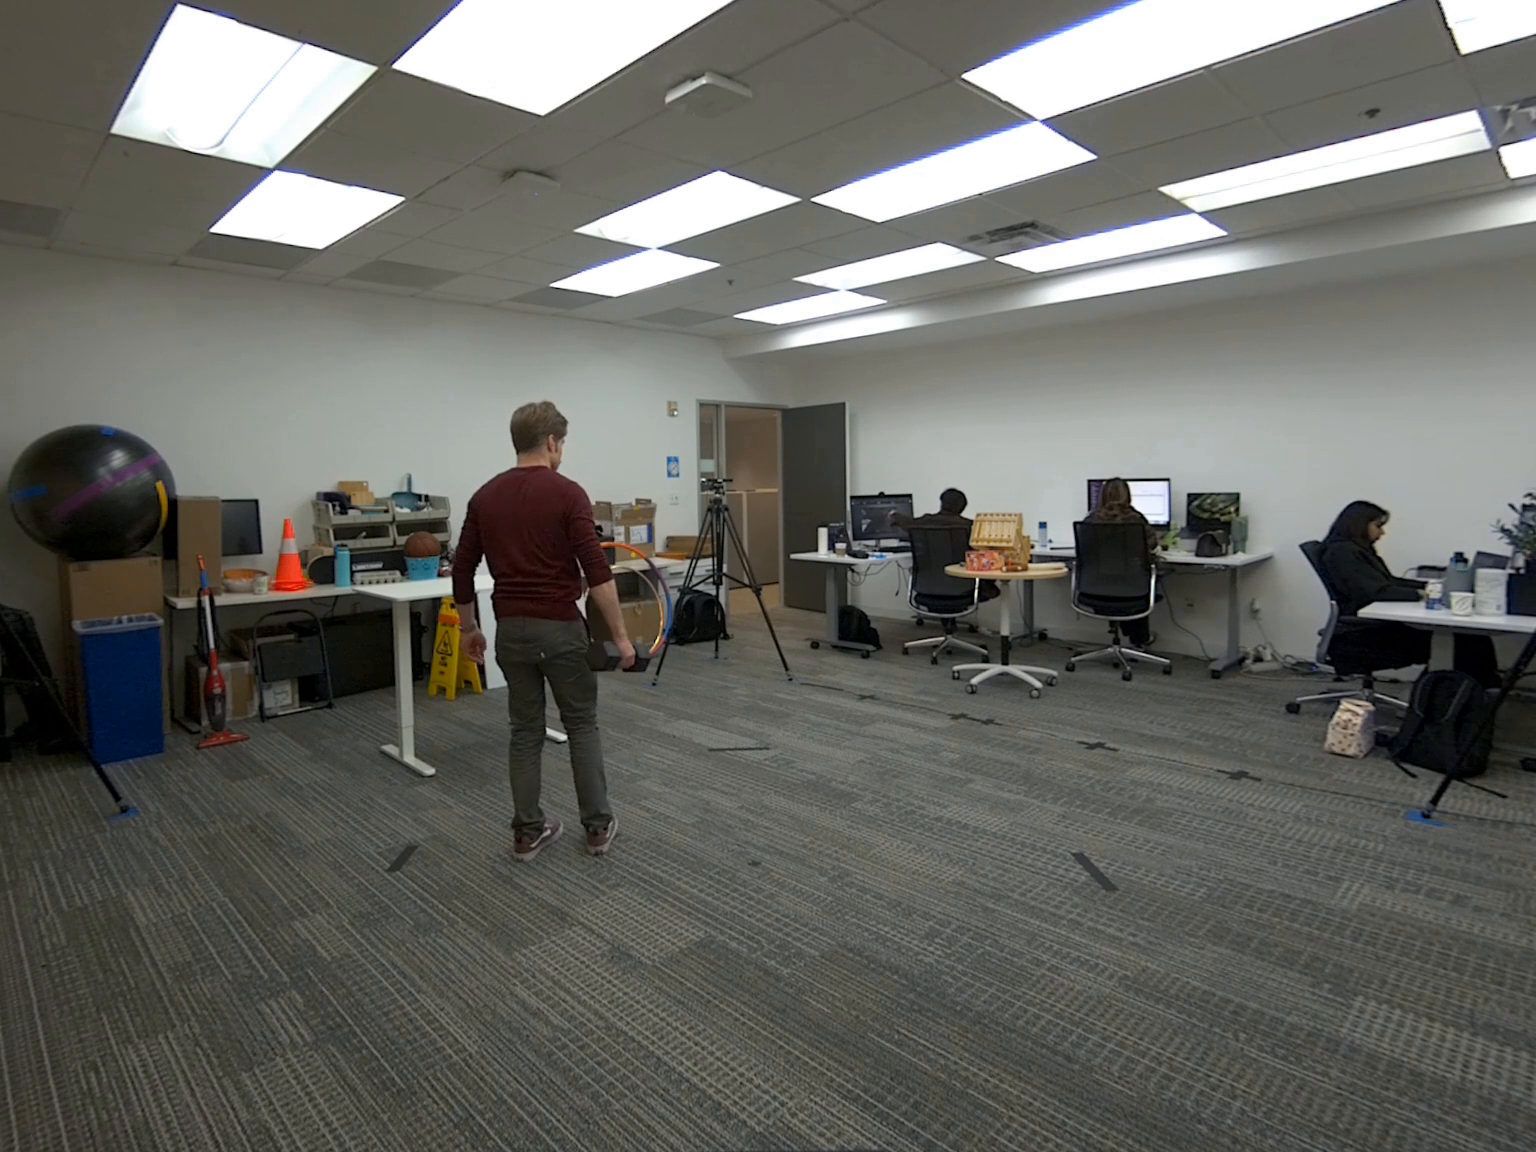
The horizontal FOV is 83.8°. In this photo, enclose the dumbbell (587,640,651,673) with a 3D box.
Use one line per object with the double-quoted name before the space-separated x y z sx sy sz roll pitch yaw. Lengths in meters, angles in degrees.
"dumbbell" -0.562 0.304 3.179 0.112 0.123 0.285 29 6 24
